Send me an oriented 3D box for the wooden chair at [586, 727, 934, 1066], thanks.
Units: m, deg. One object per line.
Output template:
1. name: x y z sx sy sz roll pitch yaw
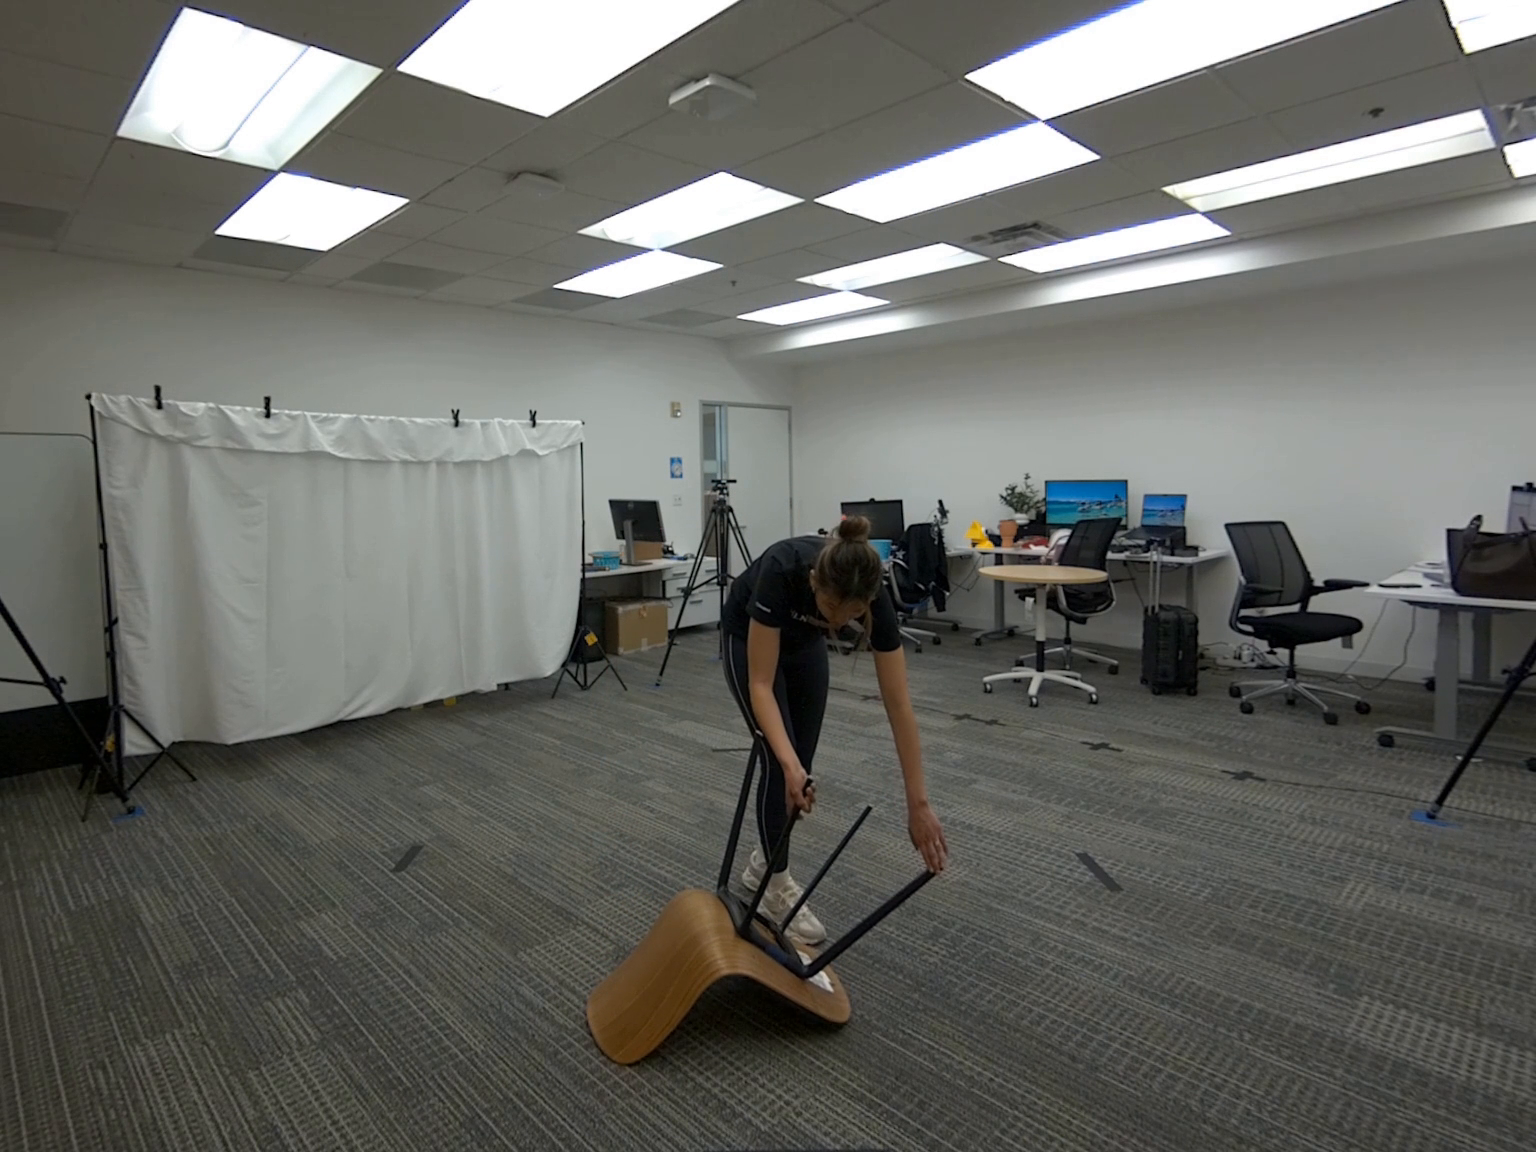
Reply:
1. wooden chair: -0.009 0.967 2.316 0.514 0.878 0.486 39 -8 -15
